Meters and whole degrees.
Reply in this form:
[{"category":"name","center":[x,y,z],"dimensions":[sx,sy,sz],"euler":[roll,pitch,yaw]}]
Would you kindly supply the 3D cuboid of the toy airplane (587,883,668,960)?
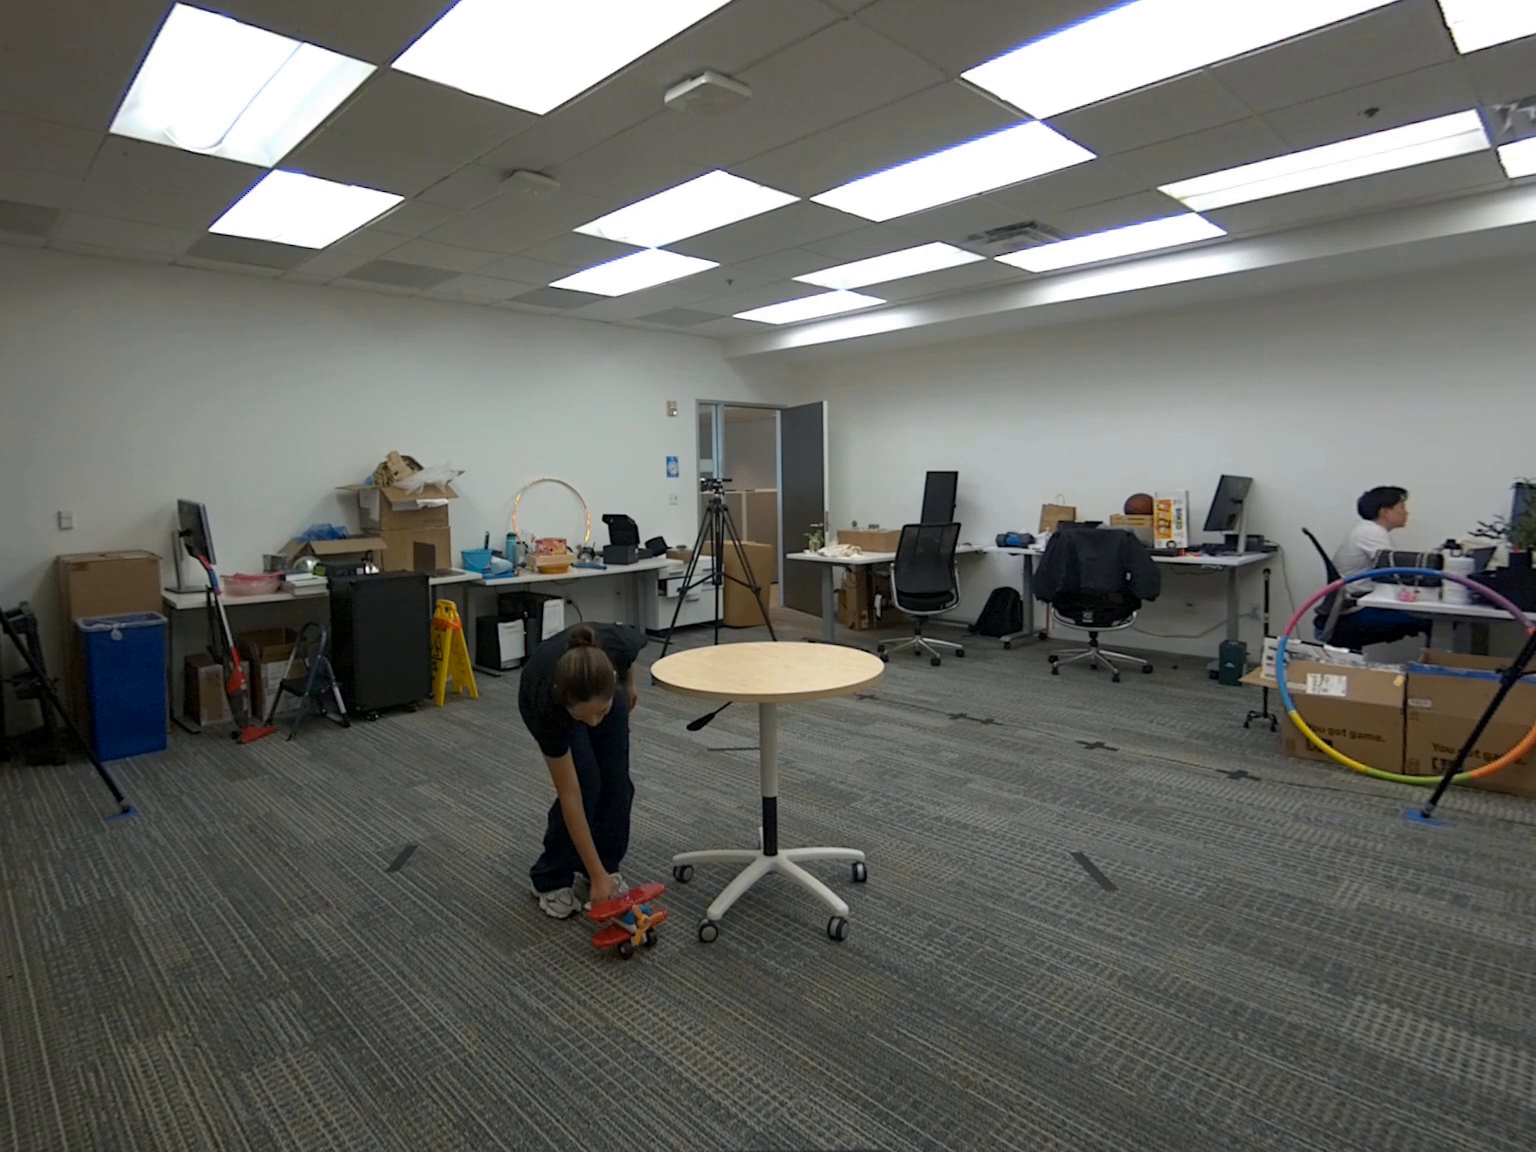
[{"category":"toy airplane","center":[-0.461,1.017,2.583],"dimensions":[0.265,0.154,0.248],"euler":[9,16,21]}]
